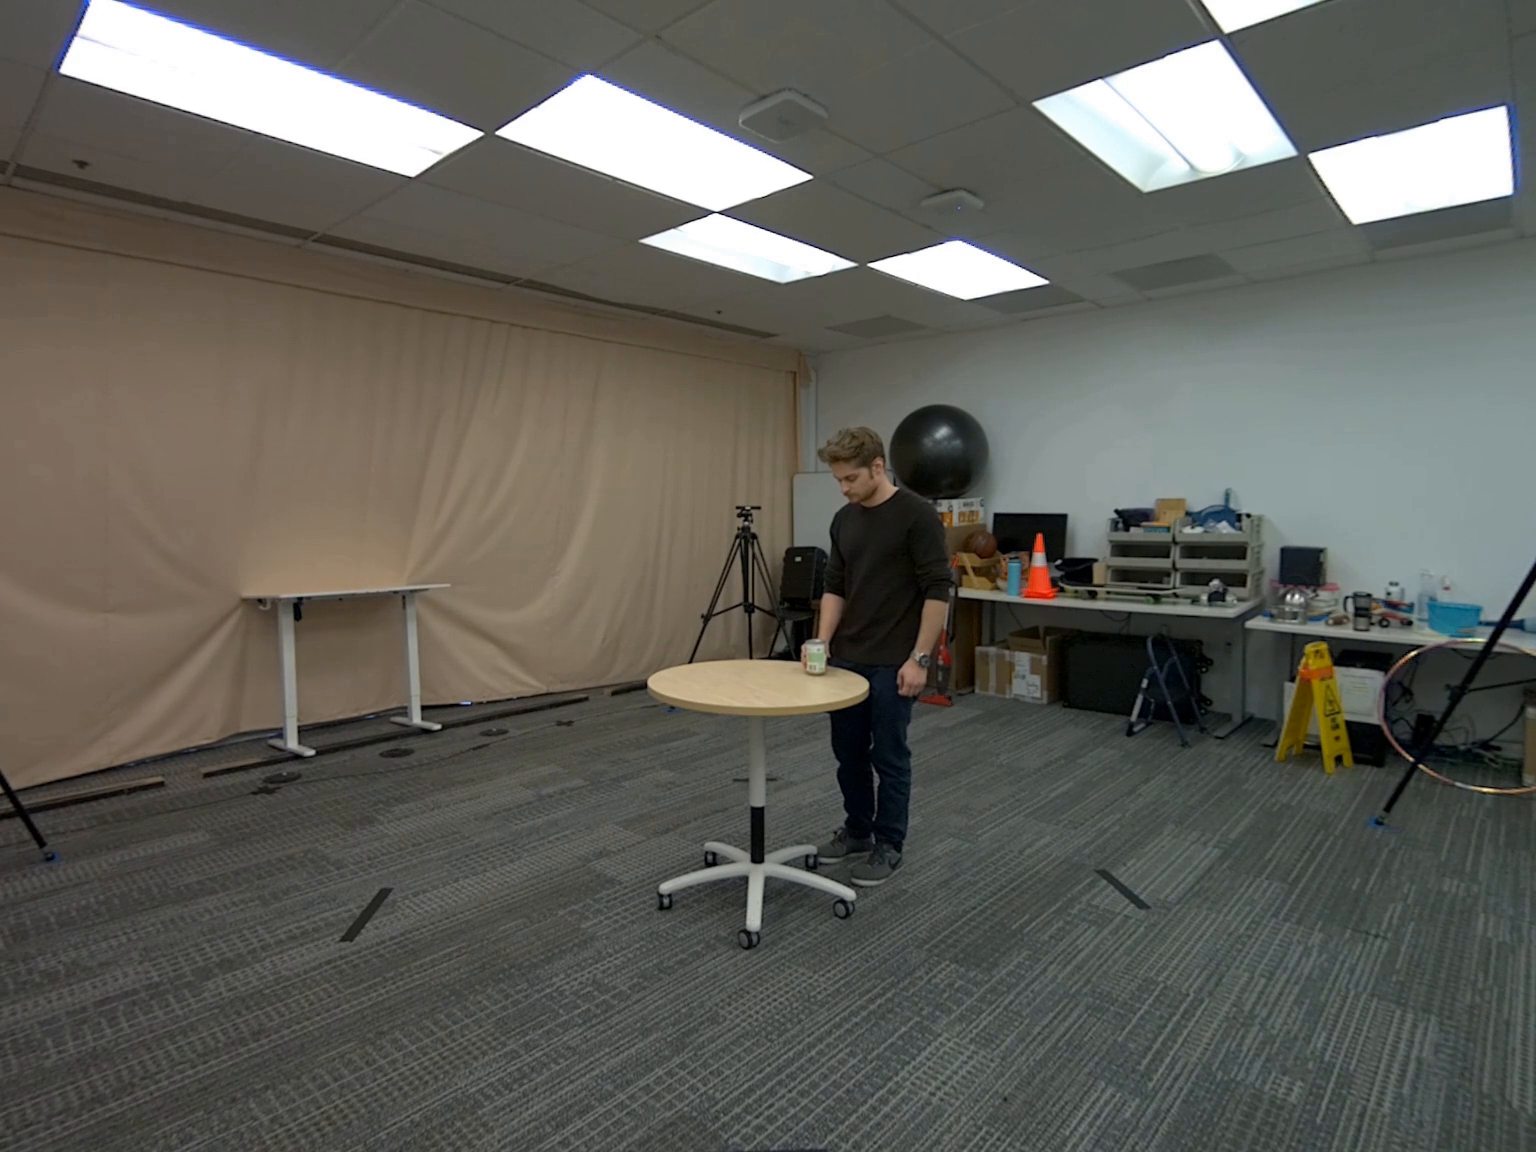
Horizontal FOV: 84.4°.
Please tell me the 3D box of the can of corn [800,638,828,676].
[{"bbox_3d":[0.172,0.290,3.044,0.074,0.111,0.074,-1,4,-2],"label":"can of corn"}]
